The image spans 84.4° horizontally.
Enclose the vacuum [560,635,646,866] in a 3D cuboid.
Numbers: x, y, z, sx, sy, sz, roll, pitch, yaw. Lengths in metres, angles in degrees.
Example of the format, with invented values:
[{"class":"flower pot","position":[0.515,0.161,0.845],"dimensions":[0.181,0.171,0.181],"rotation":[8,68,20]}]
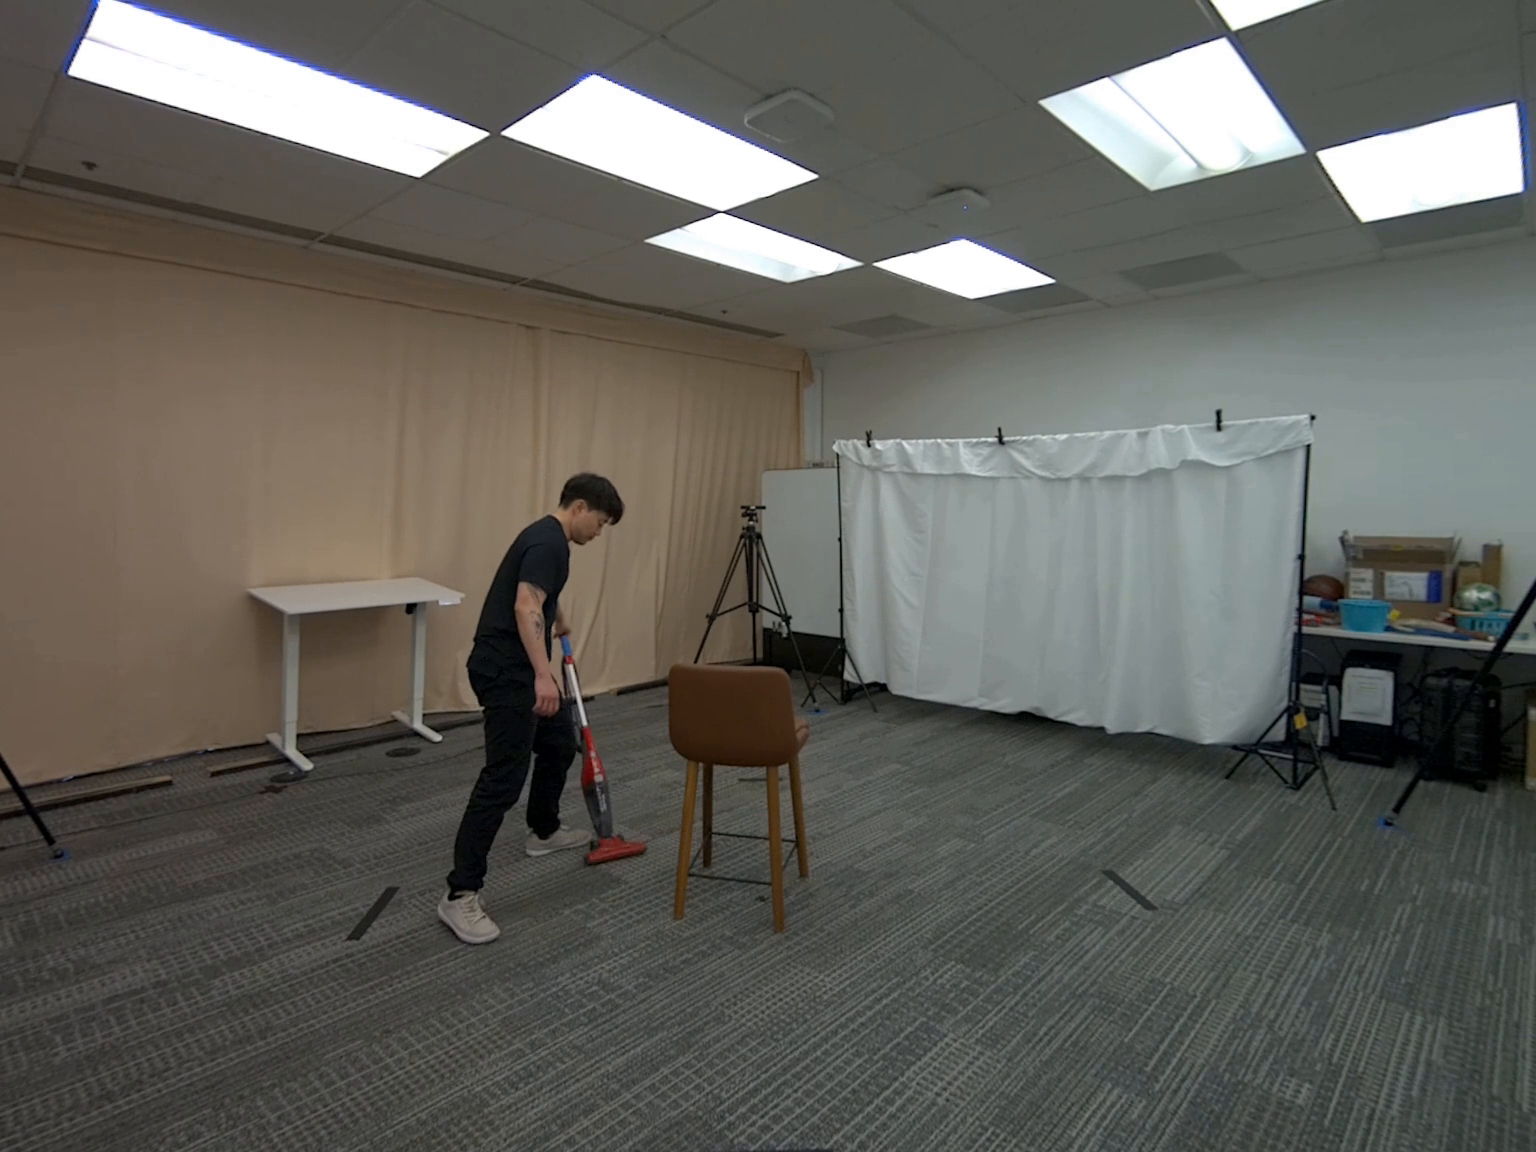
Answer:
[{"class":"vacuum","position":[-0.793,0.672,3.616],"dimensions":[0.245,1.075,0.144],"rotation":[-2,-34,-33]}]
